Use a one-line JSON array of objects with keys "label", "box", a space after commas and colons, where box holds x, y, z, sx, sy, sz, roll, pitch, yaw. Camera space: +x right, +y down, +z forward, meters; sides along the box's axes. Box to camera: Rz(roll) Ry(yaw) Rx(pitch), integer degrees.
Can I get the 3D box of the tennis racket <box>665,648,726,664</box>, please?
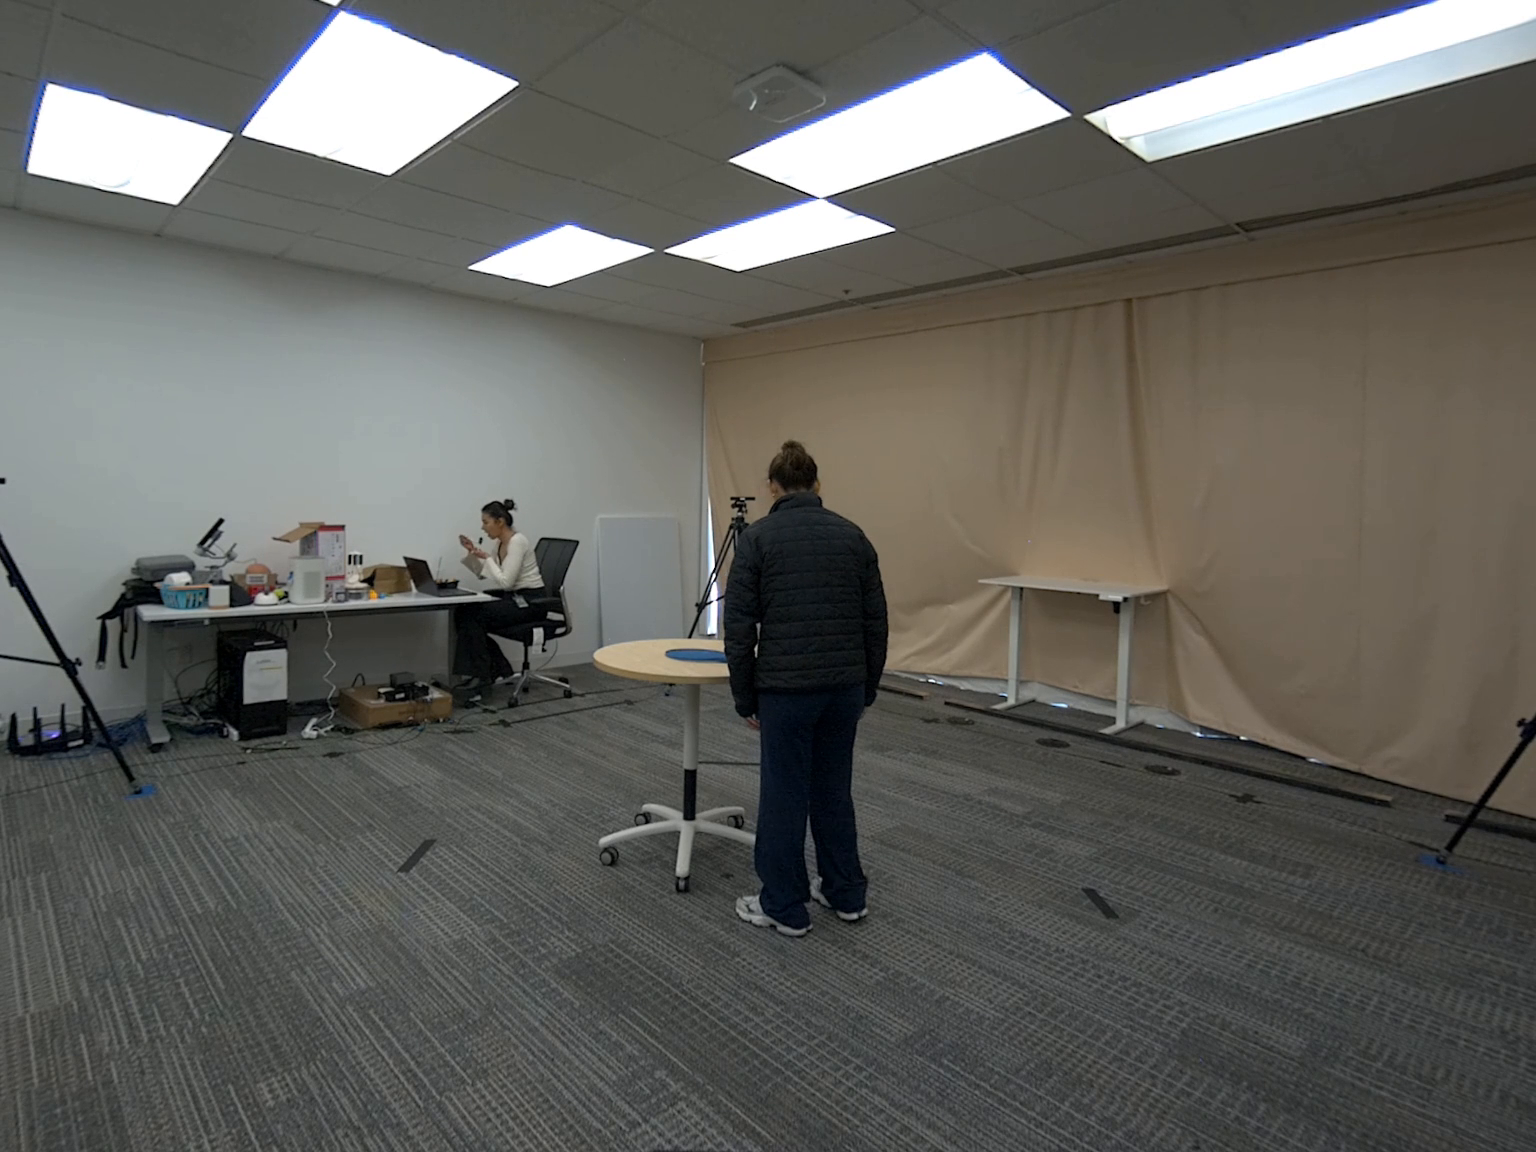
[{"label": "tennis racket", "box": [-0.210, 0.307, 3.175, 0.443, 0.031, 0.209, 4, 6, 38]}]
